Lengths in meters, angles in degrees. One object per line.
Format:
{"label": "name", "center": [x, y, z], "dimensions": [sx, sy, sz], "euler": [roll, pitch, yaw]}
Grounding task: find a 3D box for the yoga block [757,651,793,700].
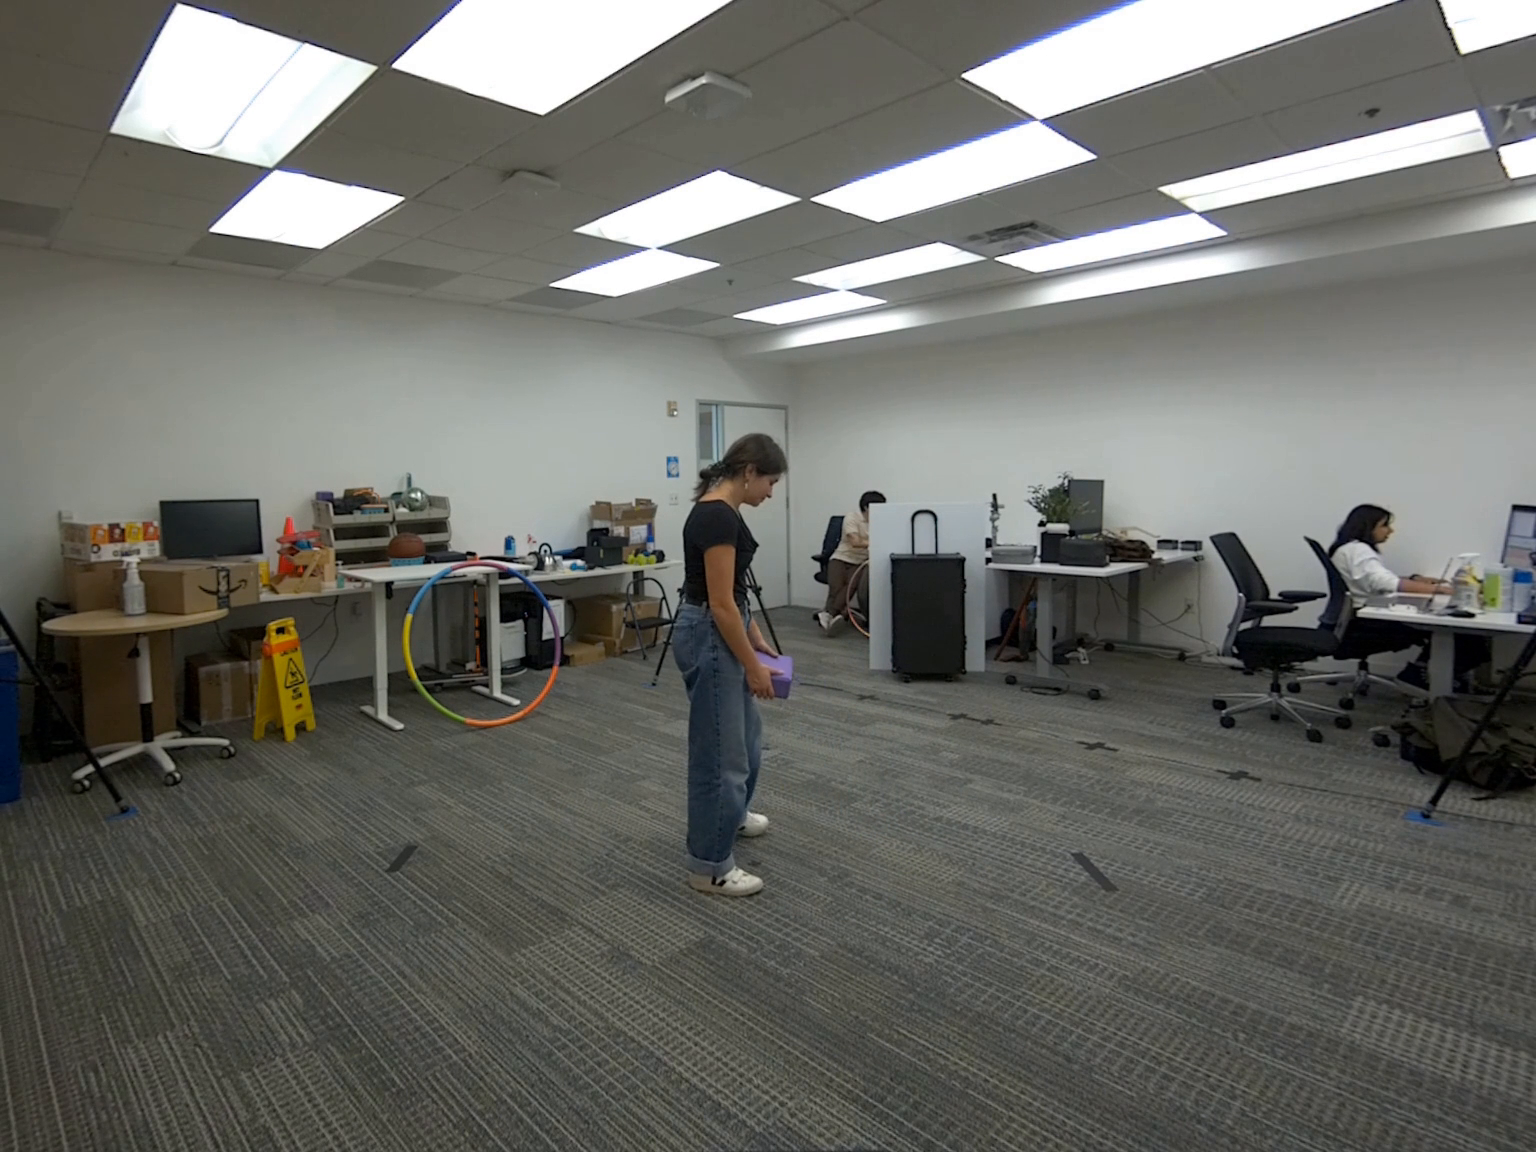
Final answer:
{"label": "yoga block", "center": [0.005, 0.342, 2.961], "dimensions": [0.150, 0.076, 0.230], "euler": [9, 13, 3]}
